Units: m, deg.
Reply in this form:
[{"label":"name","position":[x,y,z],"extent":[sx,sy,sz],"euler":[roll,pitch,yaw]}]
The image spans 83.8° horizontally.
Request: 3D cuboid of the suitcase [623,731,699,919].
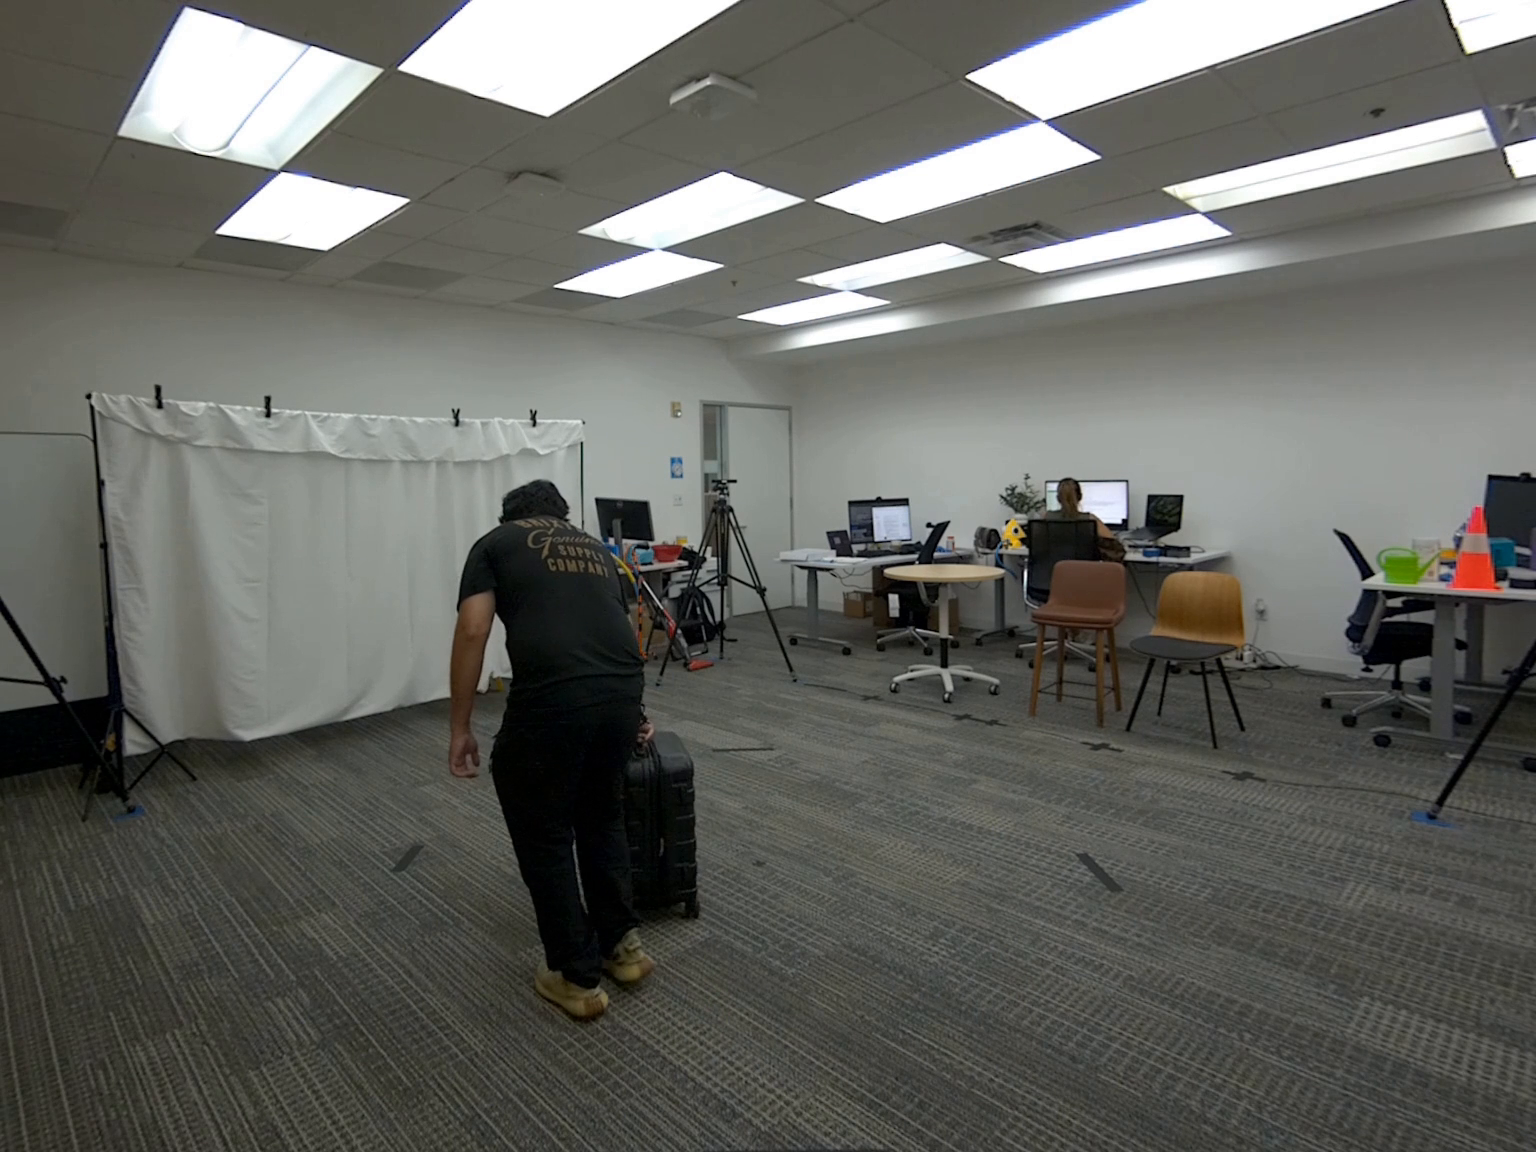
[{"label":"suitcase","position":[-0.386,0.810,2.825],"extent":[0.245,0.547,0.382],"euler":[-2,5,-16]}]
